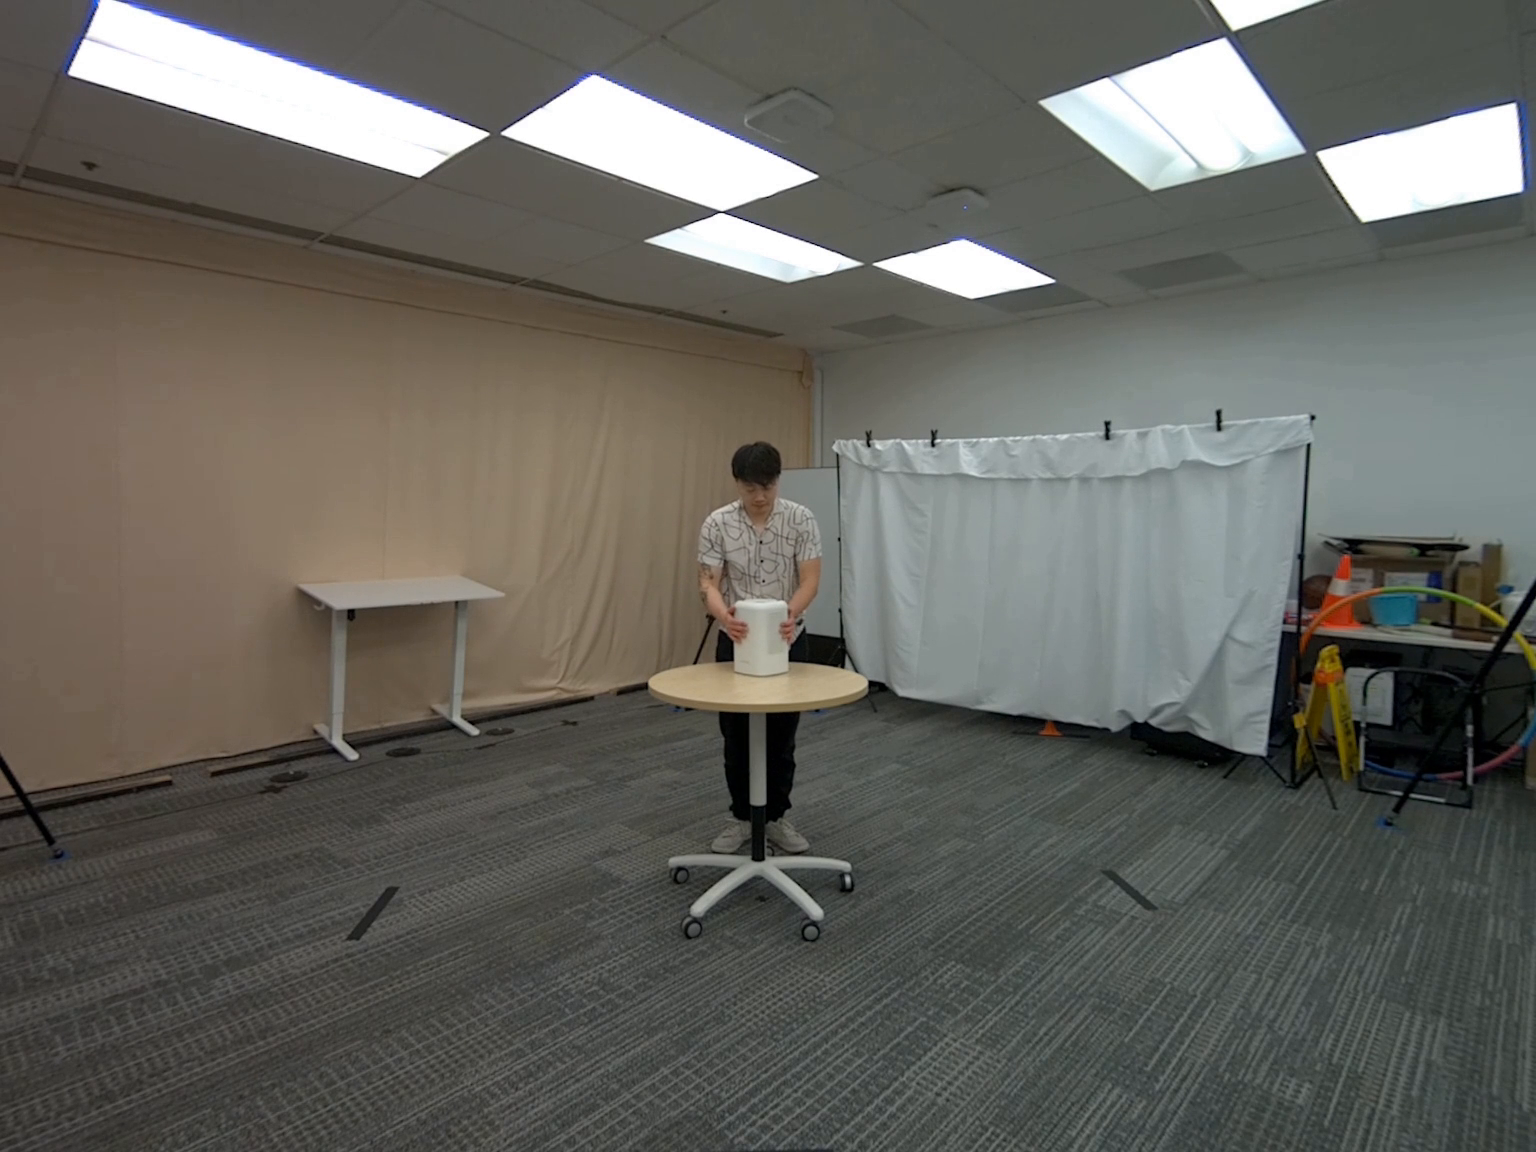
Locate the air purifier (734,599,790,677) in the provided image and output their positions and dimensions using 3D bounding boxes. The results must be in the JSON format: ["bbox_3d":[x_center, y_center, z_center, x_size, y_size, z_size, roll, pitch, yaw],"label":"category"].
[{"bbox_3d":[-0.025,0.221,3.101,0.166,0.265,0.177,-3,4,-41],"label":"air purifier"}]
